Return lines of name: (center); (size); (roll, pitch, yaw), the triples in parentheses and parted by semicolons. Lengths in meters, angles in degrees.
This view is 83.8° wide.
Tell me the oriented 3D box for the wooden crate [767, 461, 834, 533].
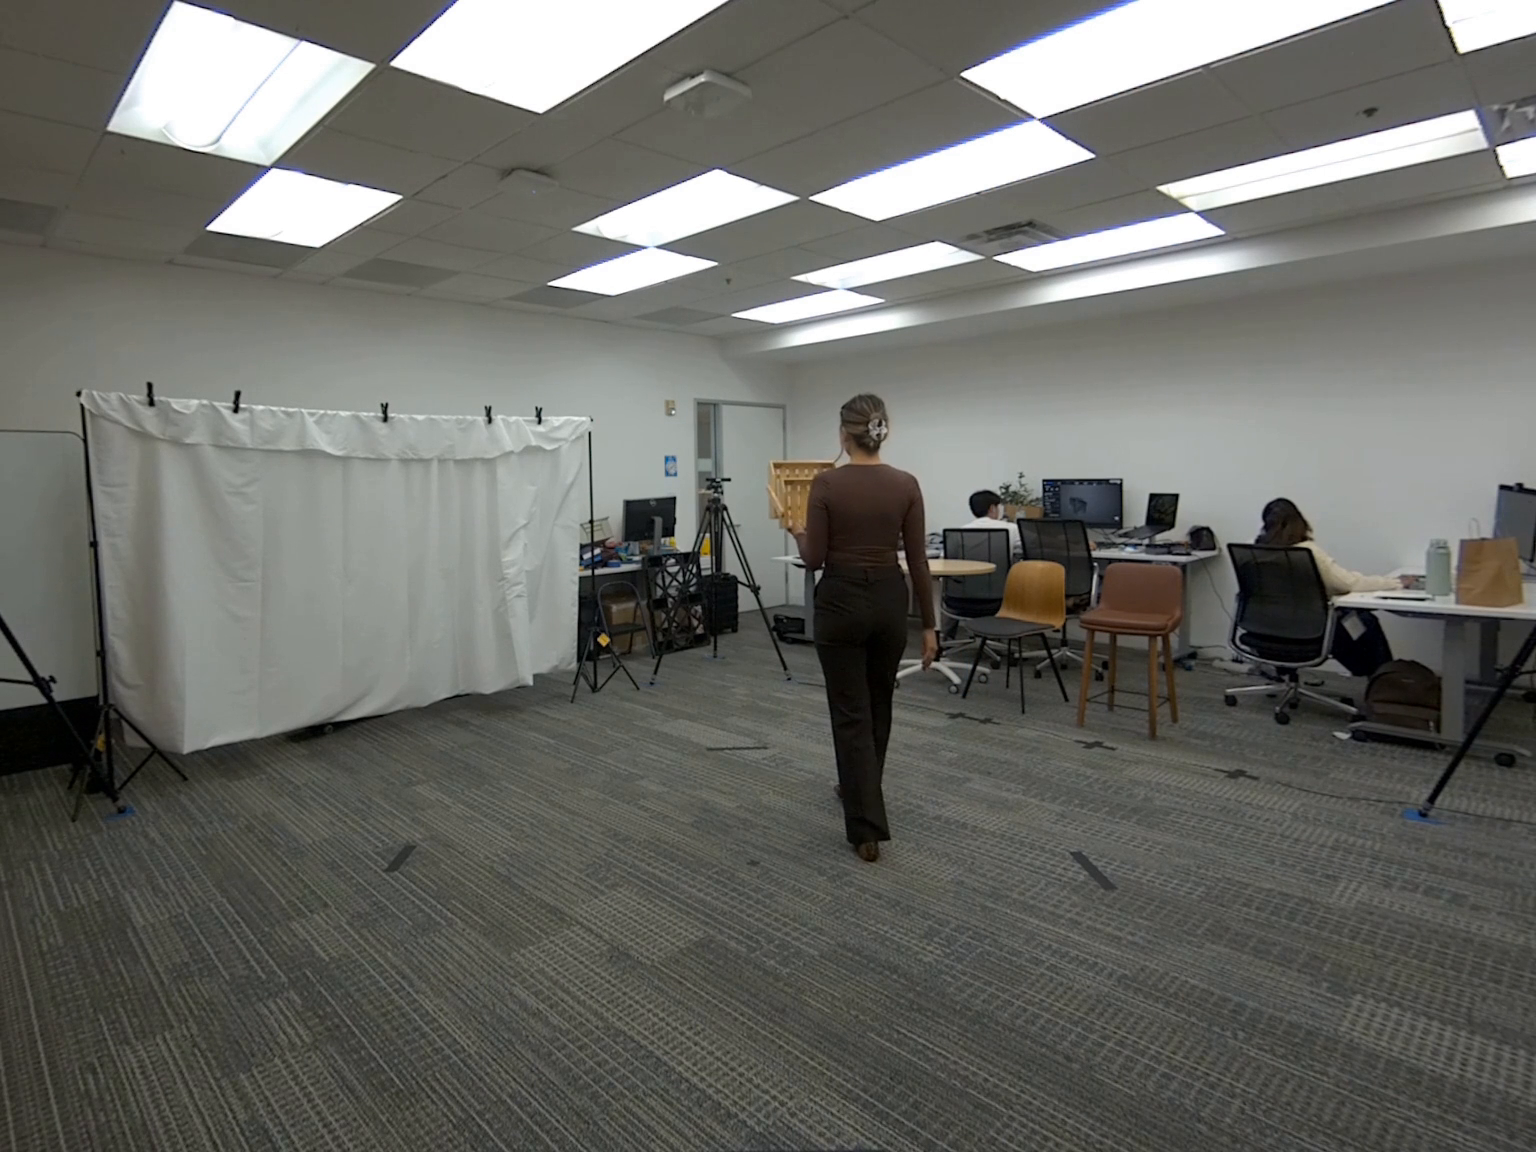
wooden crate: (0.183, -0.355, 3.636); (0.321, 0.302, 0.276); (-2, 1, -12)
